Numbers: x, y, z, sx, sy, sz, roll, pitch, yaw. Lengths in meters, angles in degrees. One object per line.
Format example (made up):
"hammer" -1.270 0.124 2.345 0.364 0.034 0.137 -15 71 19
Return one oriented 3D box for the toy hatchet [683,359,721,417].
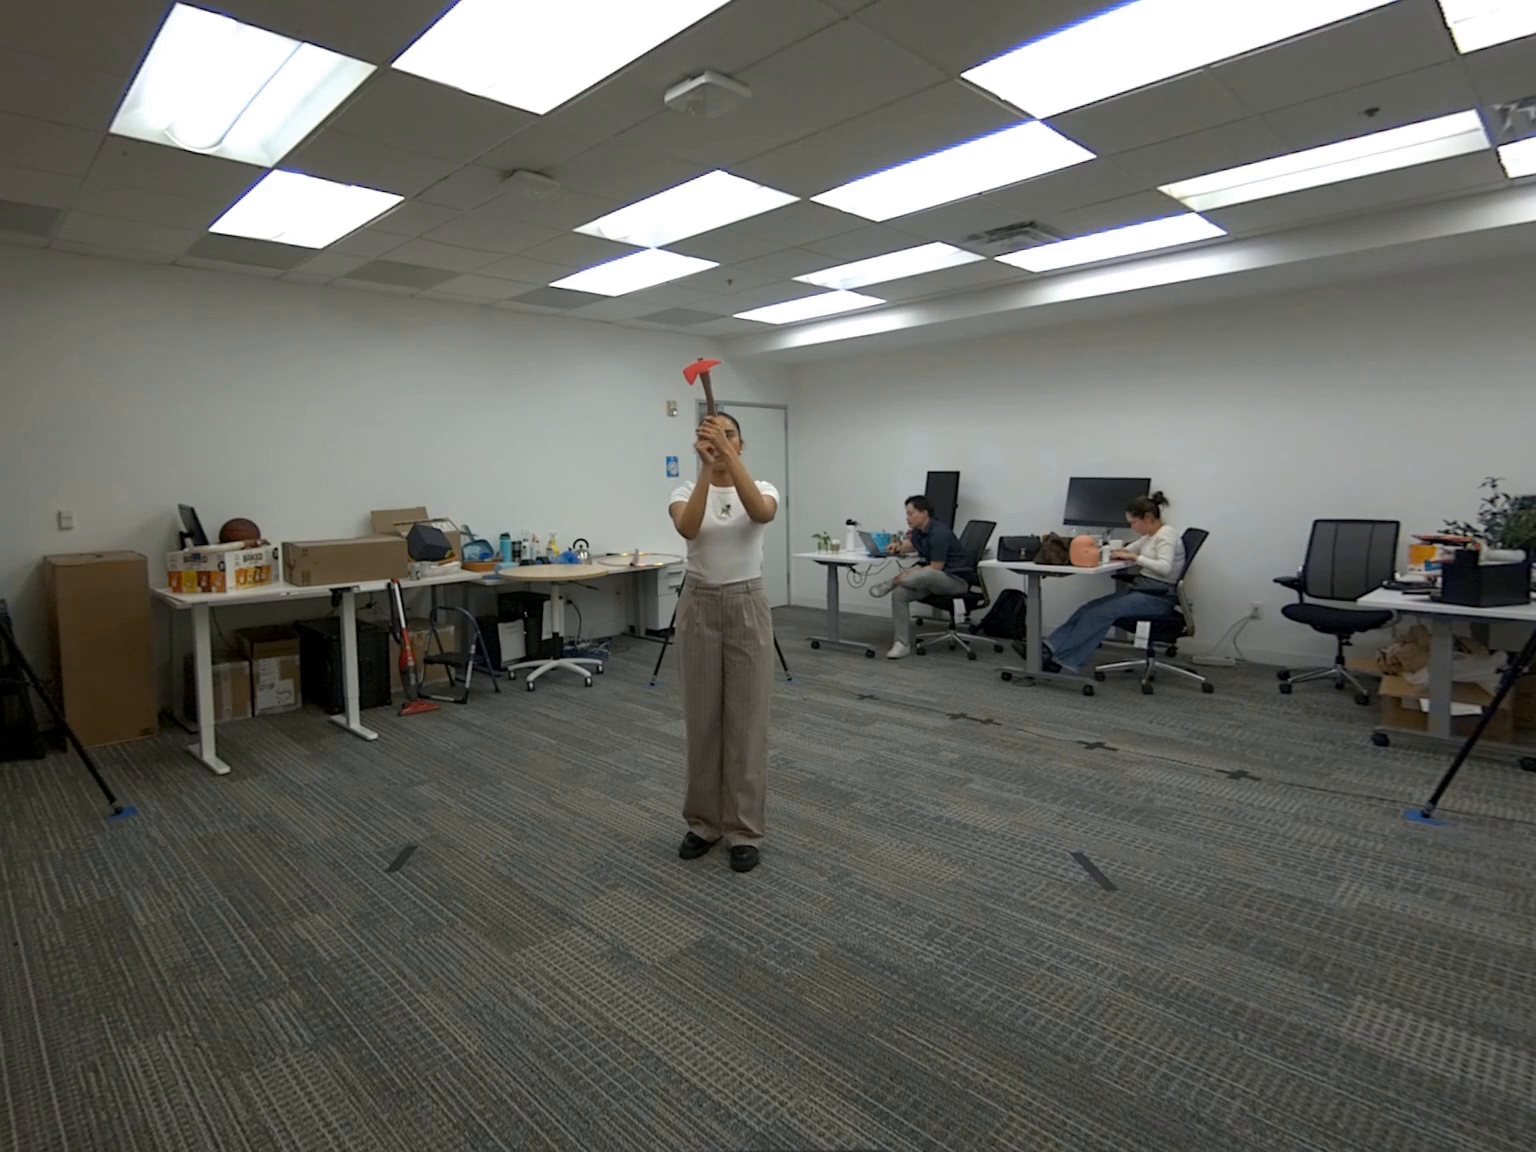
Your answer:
"toy hatchet" -0.231 -0.602 2.888 0.133 0.268 0.029 6 7 12
